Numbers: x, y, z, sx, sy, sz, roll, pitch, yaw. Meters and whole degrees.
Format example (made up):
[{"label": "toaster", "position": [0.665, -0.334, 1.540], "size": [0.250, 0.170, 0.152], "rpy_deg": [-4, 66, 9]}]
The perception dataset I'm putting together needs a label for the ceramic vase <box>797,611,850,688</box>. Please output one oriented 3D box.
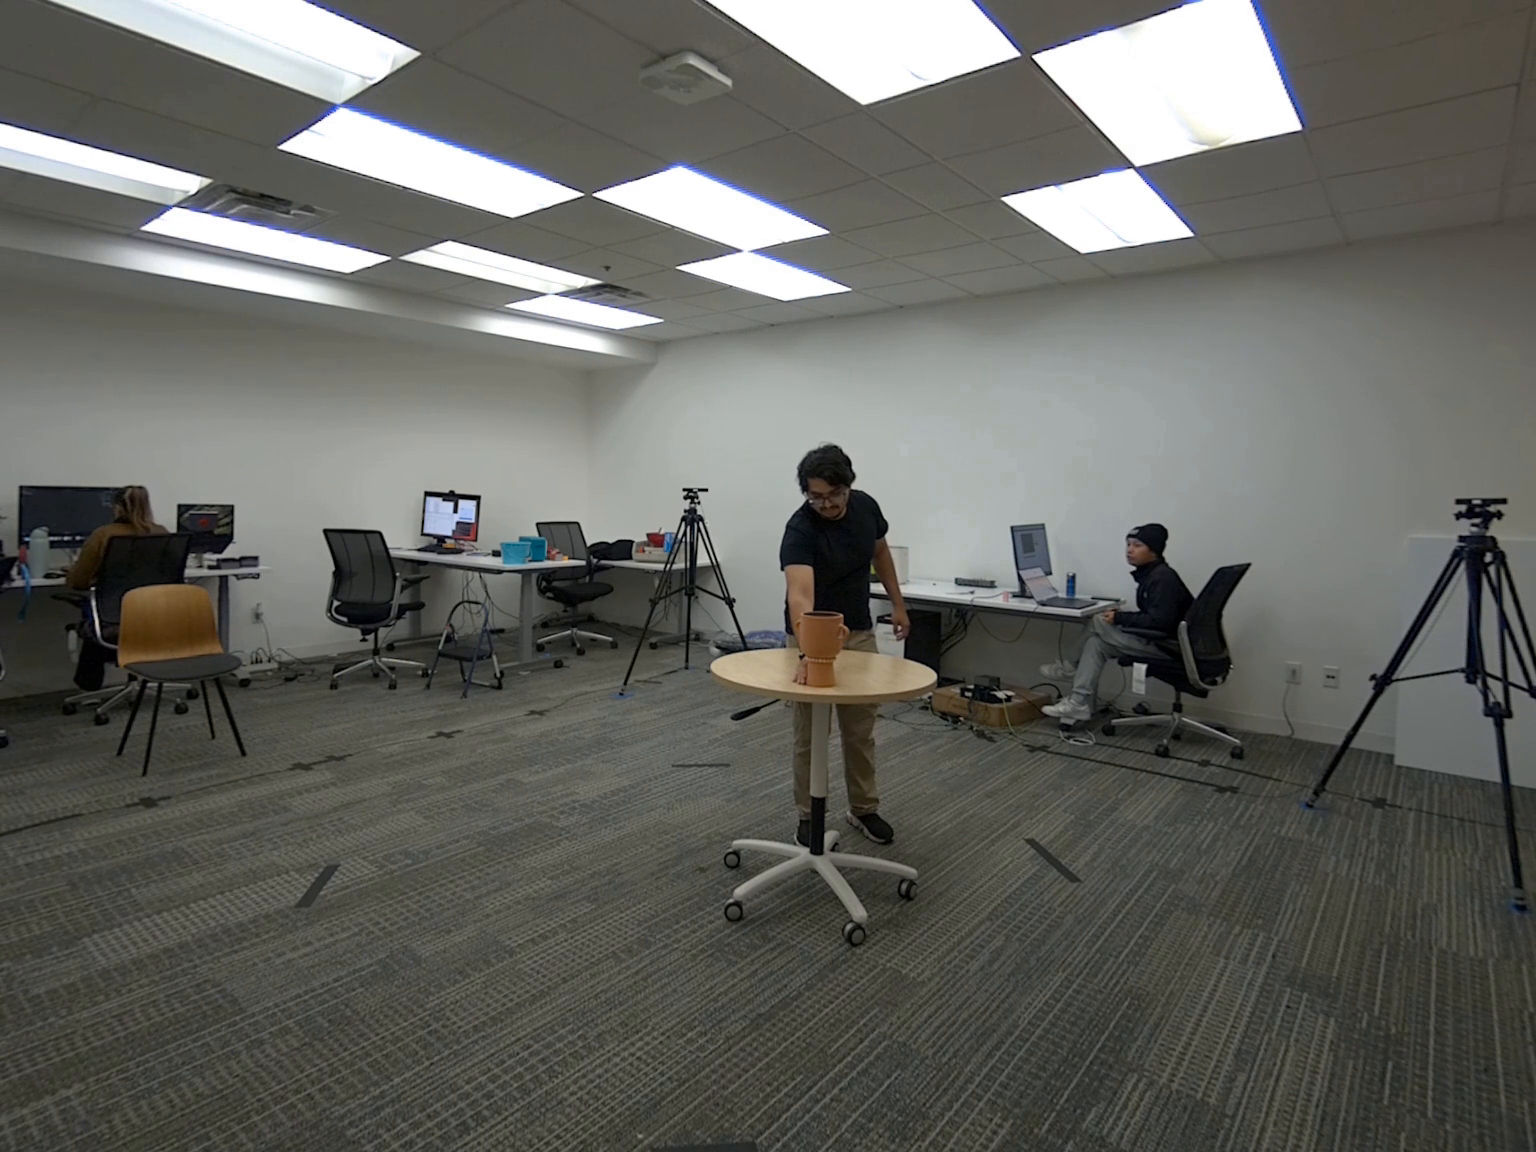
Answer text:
[{"label": "ceramic vase", "position": [0.156, 0.229, 2.667], "size": [0.133, 0.219, 0.161], "rpy_deg": [1, 4, -12]}]
